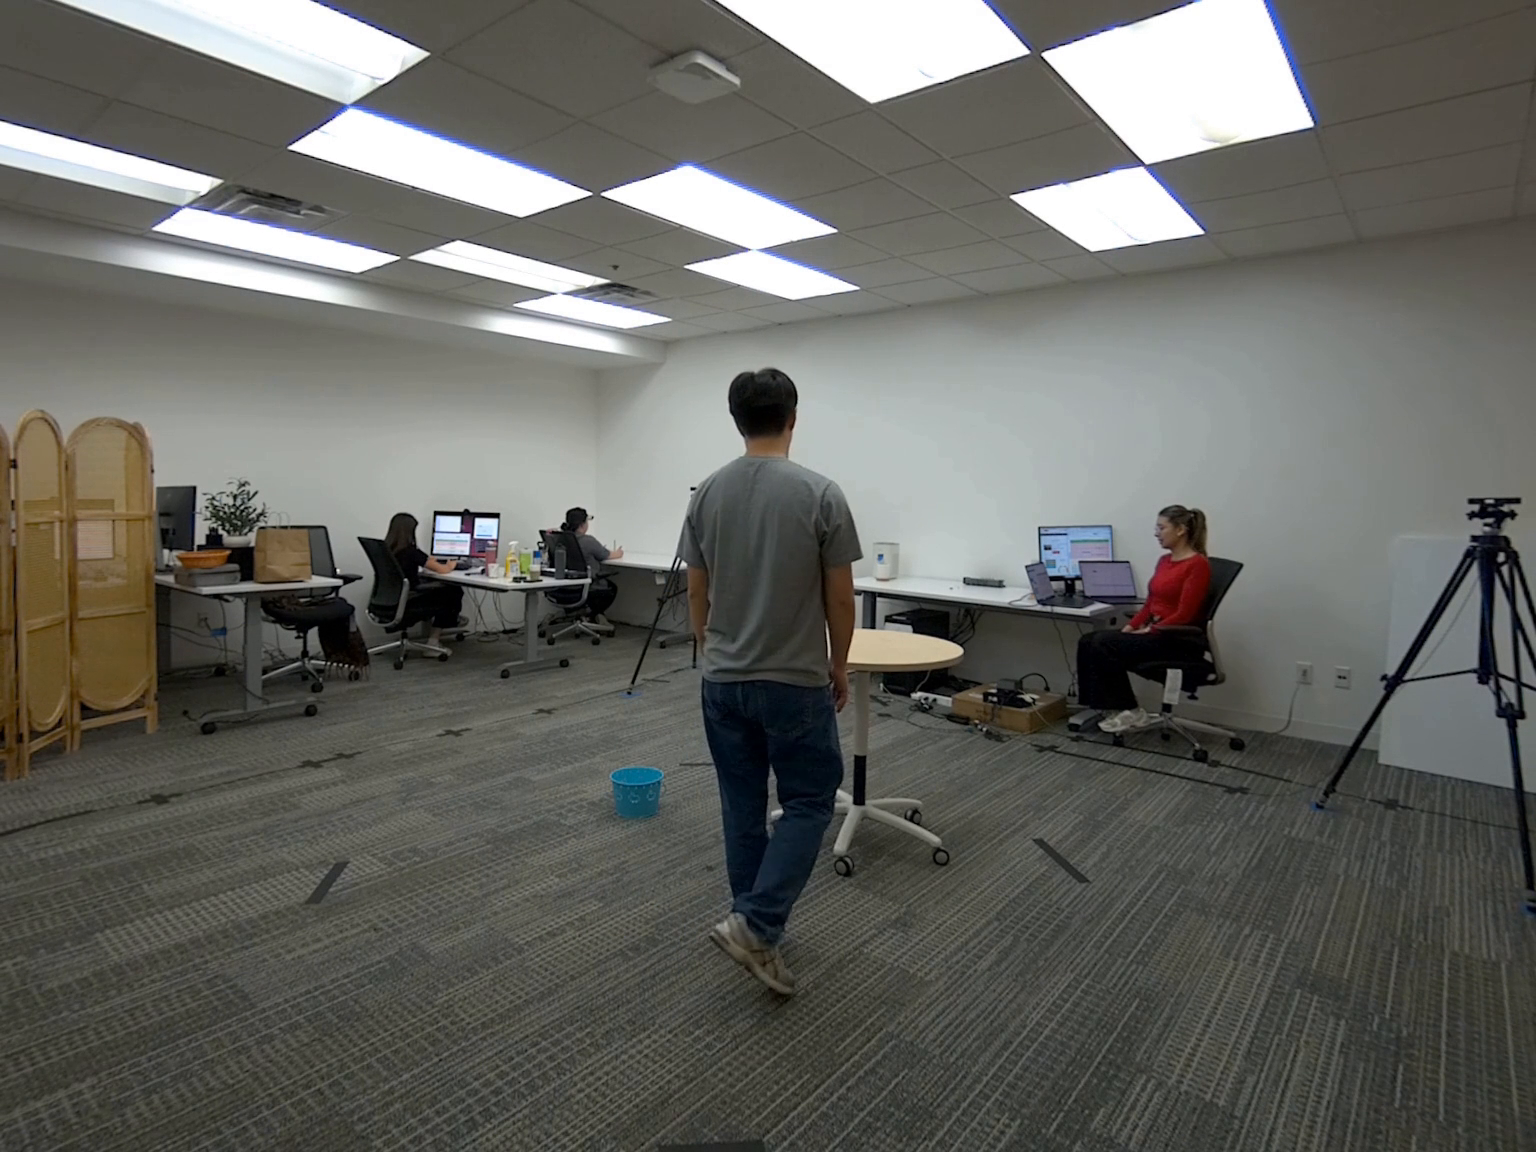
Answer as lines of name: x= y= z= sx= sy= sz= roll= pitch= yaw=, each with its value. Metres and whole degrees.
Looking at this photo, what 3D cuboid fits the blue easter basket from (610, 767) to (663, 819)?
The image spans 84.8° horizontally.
blue easter basket: x=-0.571 y=0.929 z=3.666 sx=0.243 sy=0.155 sz=0.245 roll=0 pitch=5 yaw=-2
